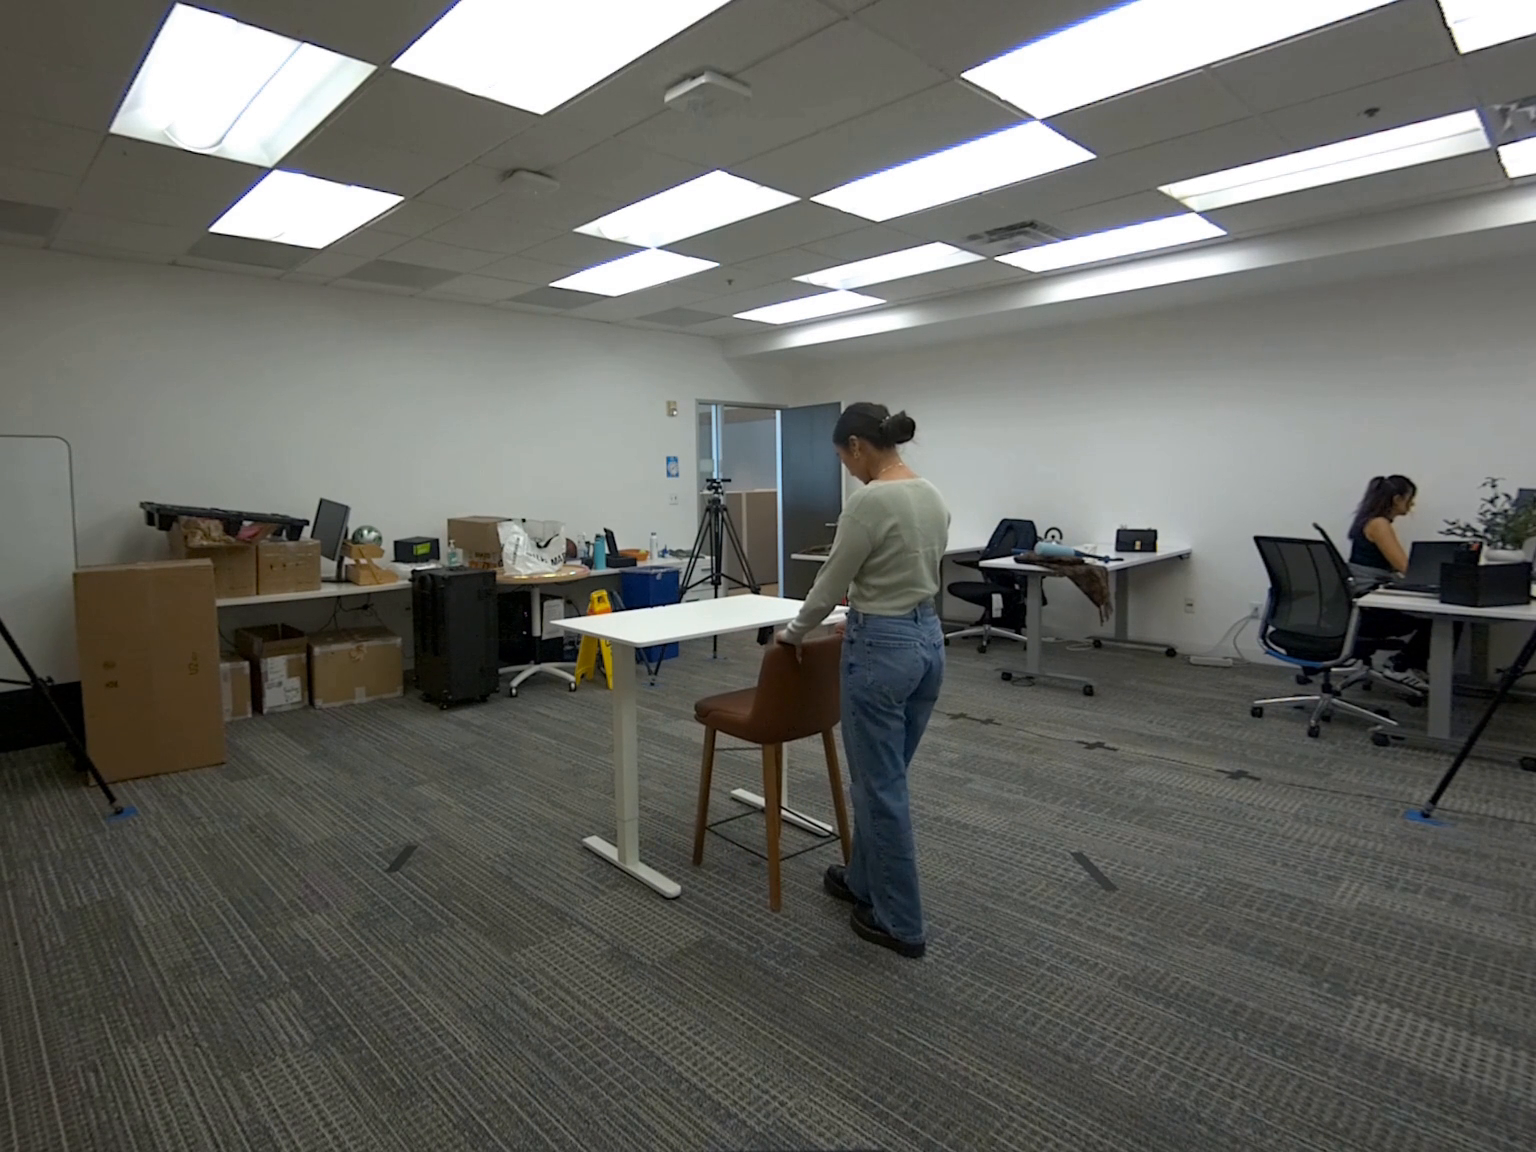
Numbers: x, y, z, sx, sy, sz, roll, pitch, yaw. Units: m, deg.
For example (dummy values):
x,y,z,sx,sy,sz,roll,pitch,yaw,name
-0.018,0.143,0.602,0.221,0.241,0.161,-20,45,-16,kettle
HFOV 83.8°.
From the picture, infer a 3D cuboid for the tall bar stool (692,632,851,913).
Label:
x,y,z,sx,sy,sz,roll,pitch,yaw,name
0.029,0.615,3.006,0.444,0.885,0.483,-3,8,-38,tall bar stool
